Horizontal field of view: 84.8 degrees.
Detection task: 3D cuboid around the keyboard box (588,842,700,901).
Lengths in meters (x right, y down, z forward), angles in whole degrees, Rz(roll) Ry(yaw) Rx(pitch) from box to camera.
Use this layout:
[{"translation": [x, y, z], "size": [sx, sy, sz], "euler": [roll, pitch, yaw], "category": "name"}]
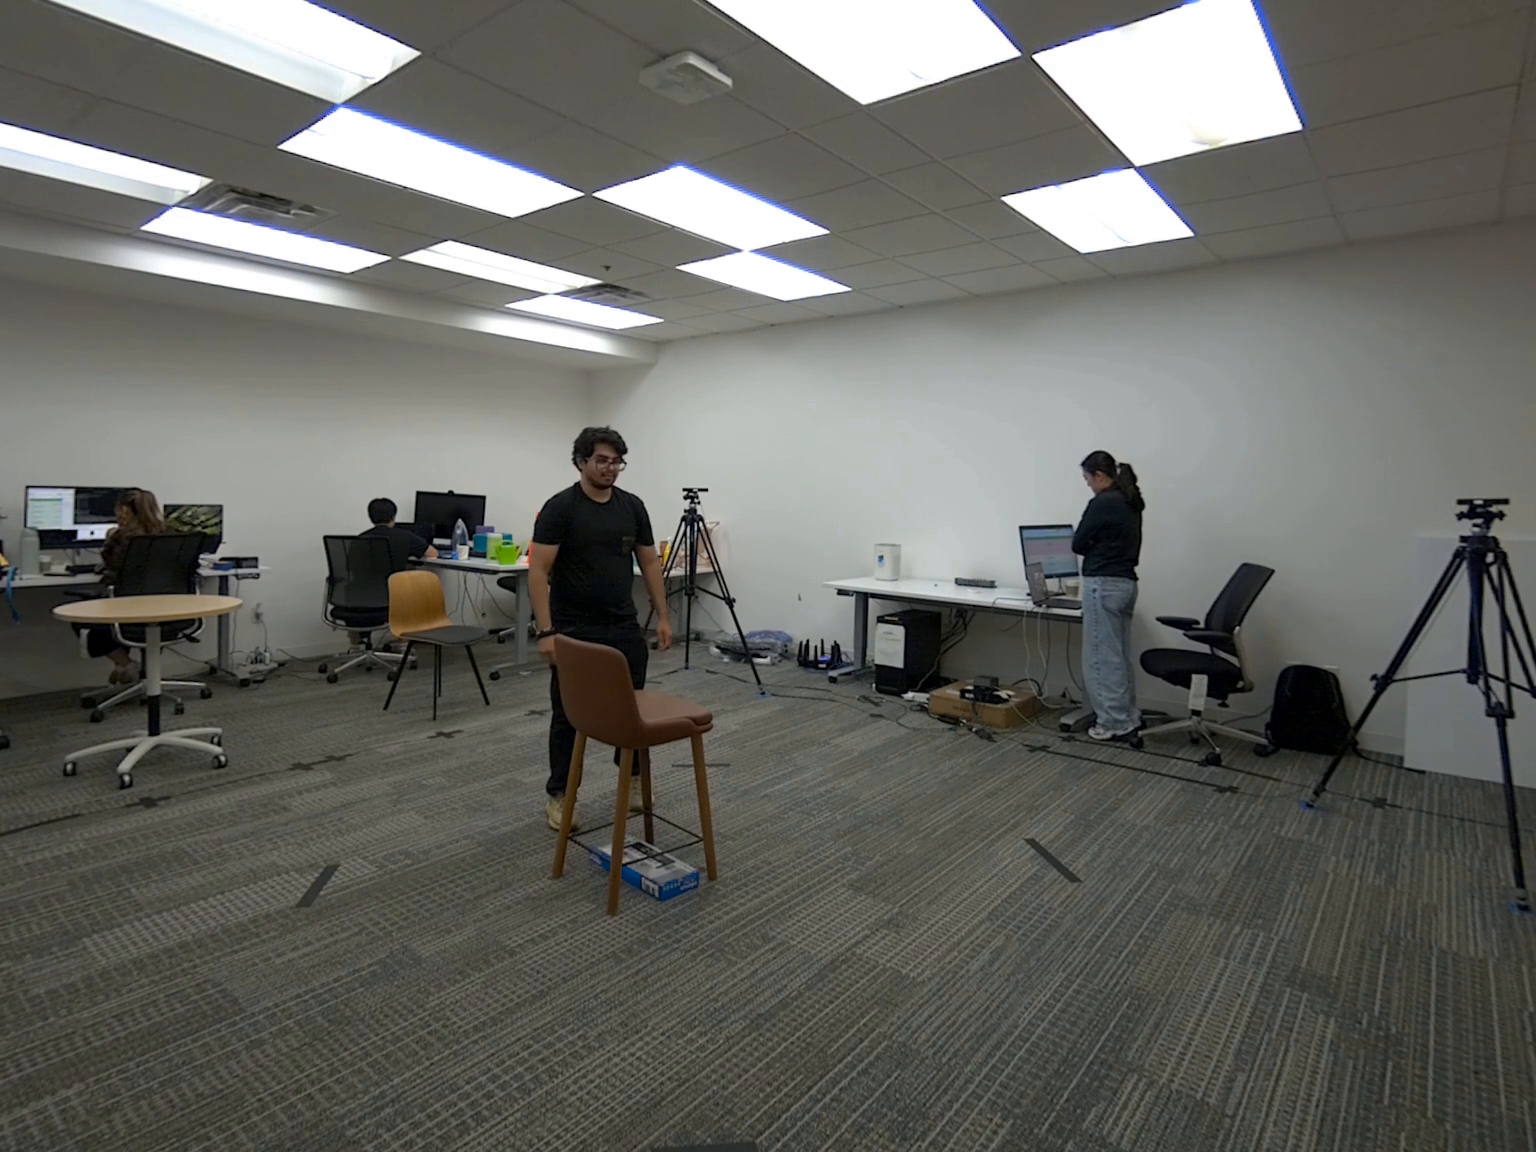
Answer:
[{"translation": [-0.467, 1.042, 3.075], "size": [0.171, 0.059, 0.452], "euler": [-5, 8, -43], "category": "keyboard box"}]
